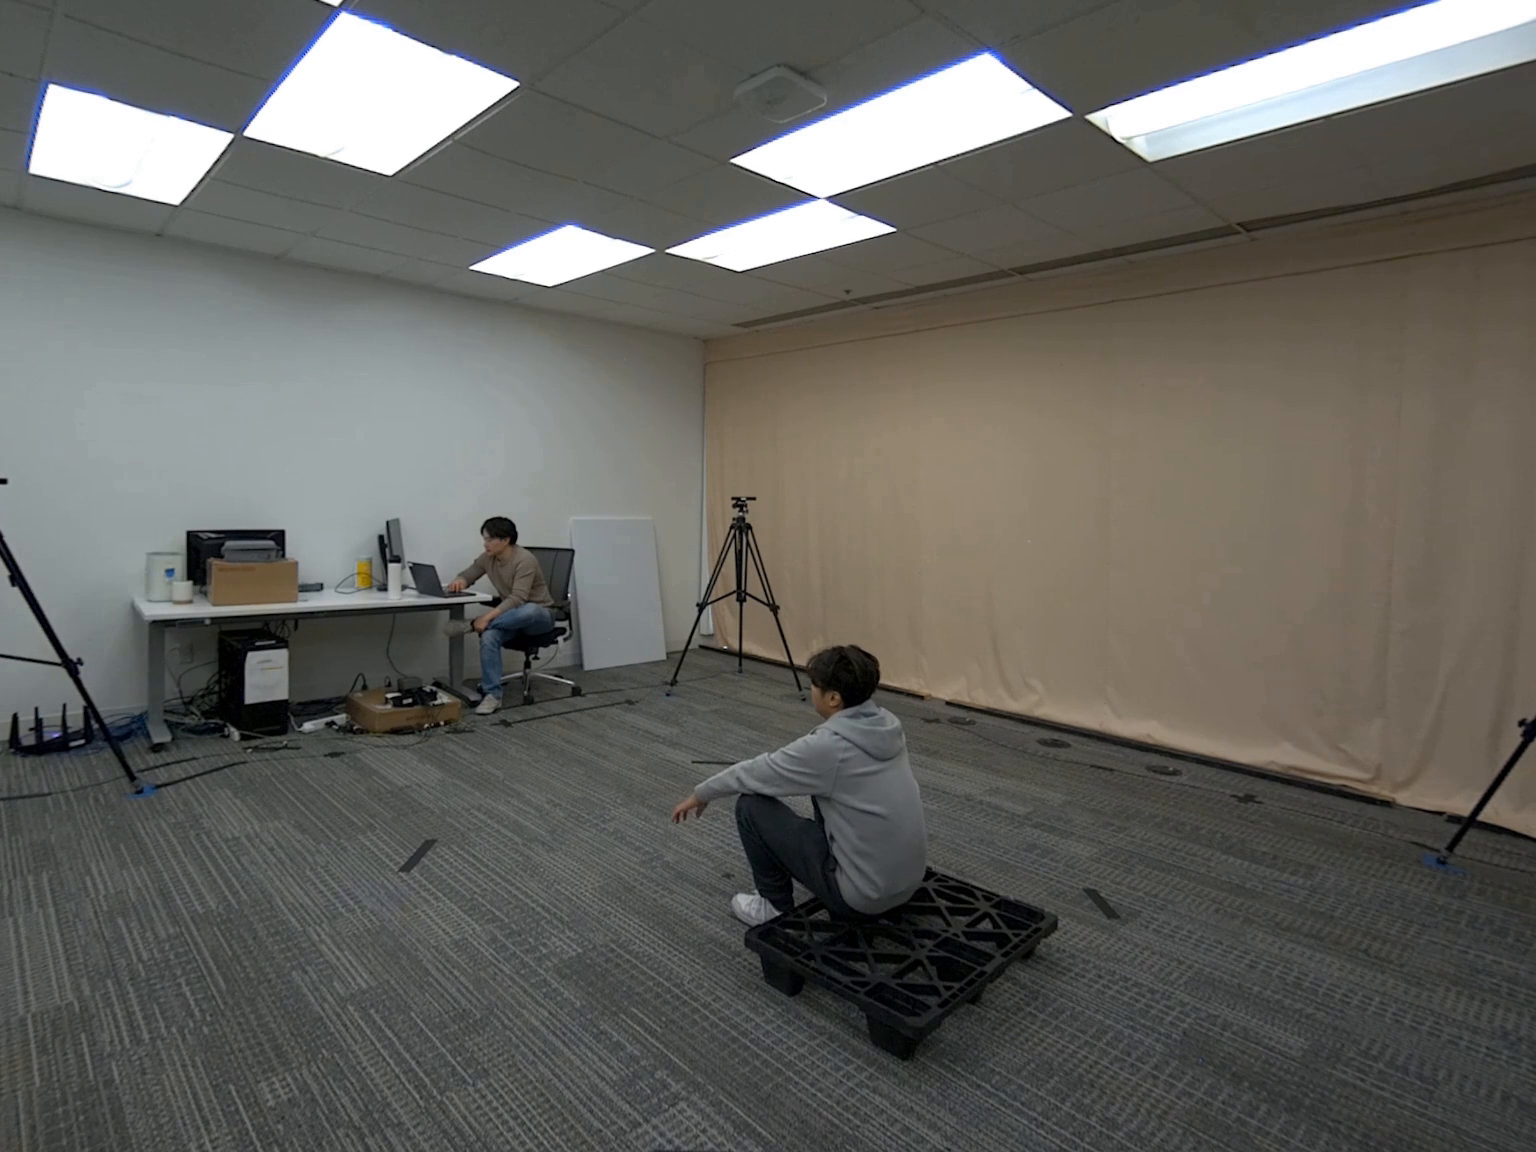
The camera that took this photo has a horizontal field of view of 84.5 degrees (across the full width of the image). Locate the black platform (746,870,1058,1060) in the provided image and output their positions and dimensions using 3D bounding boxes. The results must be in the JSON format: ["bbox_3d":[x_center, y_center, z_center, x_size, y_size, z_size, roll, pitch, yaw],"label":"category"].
[{"bbox_3d":[0.397,1.105,2.521,0.620,0.143,0.787,6,6,43],"label":"black platform"}]
